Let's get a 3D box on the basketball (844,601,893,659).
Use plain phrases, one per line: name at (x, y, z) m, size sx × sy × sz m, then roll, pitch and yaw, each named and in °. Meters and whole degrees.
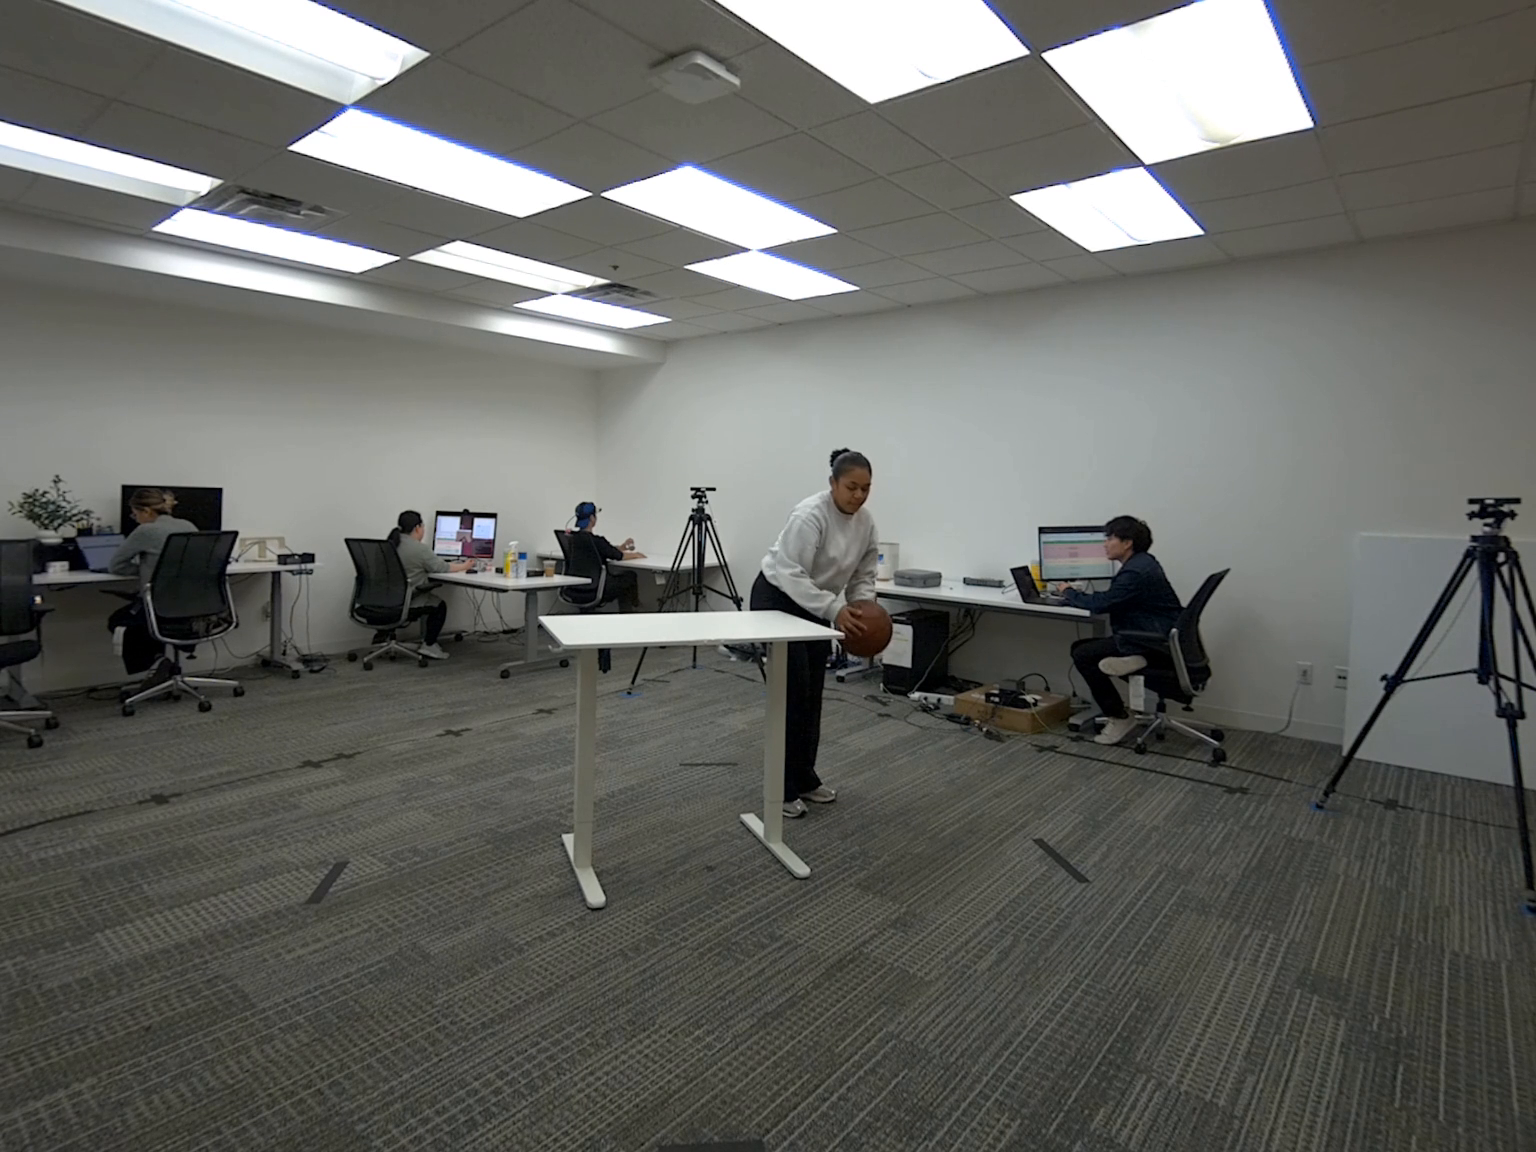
basketball at (0.369, 0.226, 3.492) m, size 0.235 × 0.235 × 0.237 m, roll 1°, pitch 4°, yaw -2°
